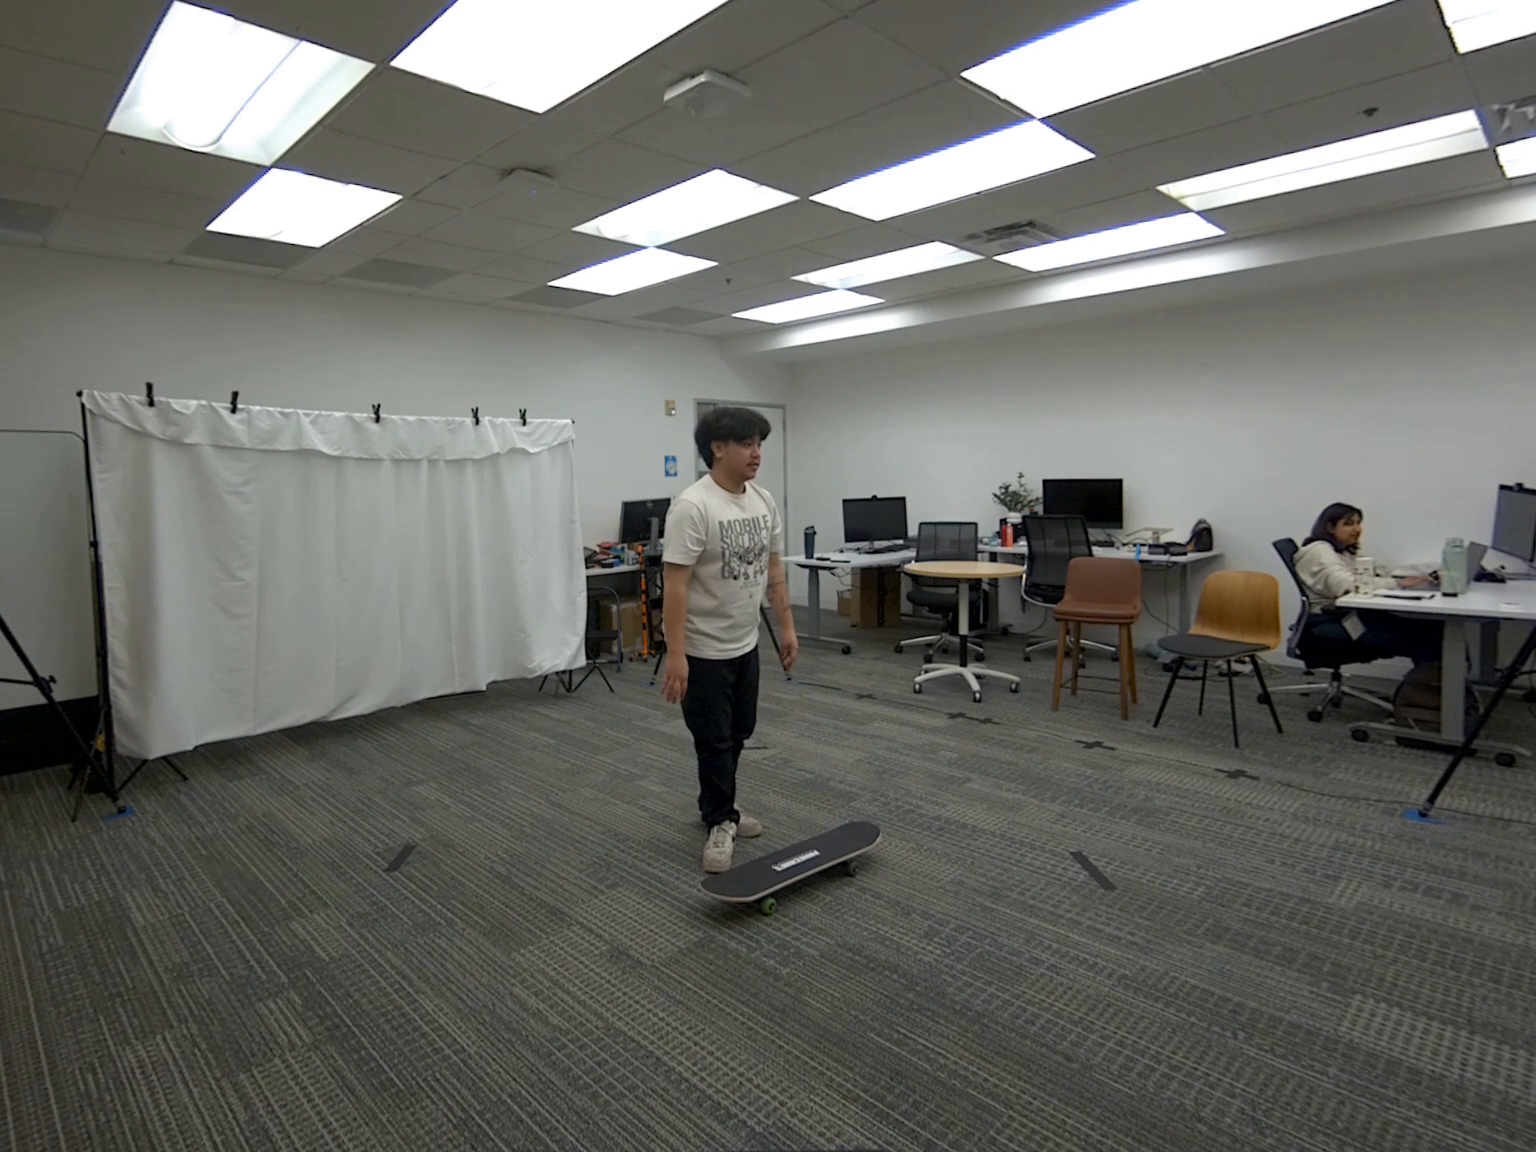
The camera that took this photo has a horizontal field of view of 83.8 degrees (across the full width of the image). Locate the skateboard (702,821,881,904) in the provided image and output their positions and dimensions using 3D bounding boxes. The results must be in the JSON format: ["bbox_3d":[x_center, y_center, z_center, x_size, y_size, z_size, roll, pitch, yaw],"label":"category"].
[{"bbox_3d":[0.102,1.000,2.926,0.765,0.110,0.199,-7,8,-41],"label":"skateboard"}]
